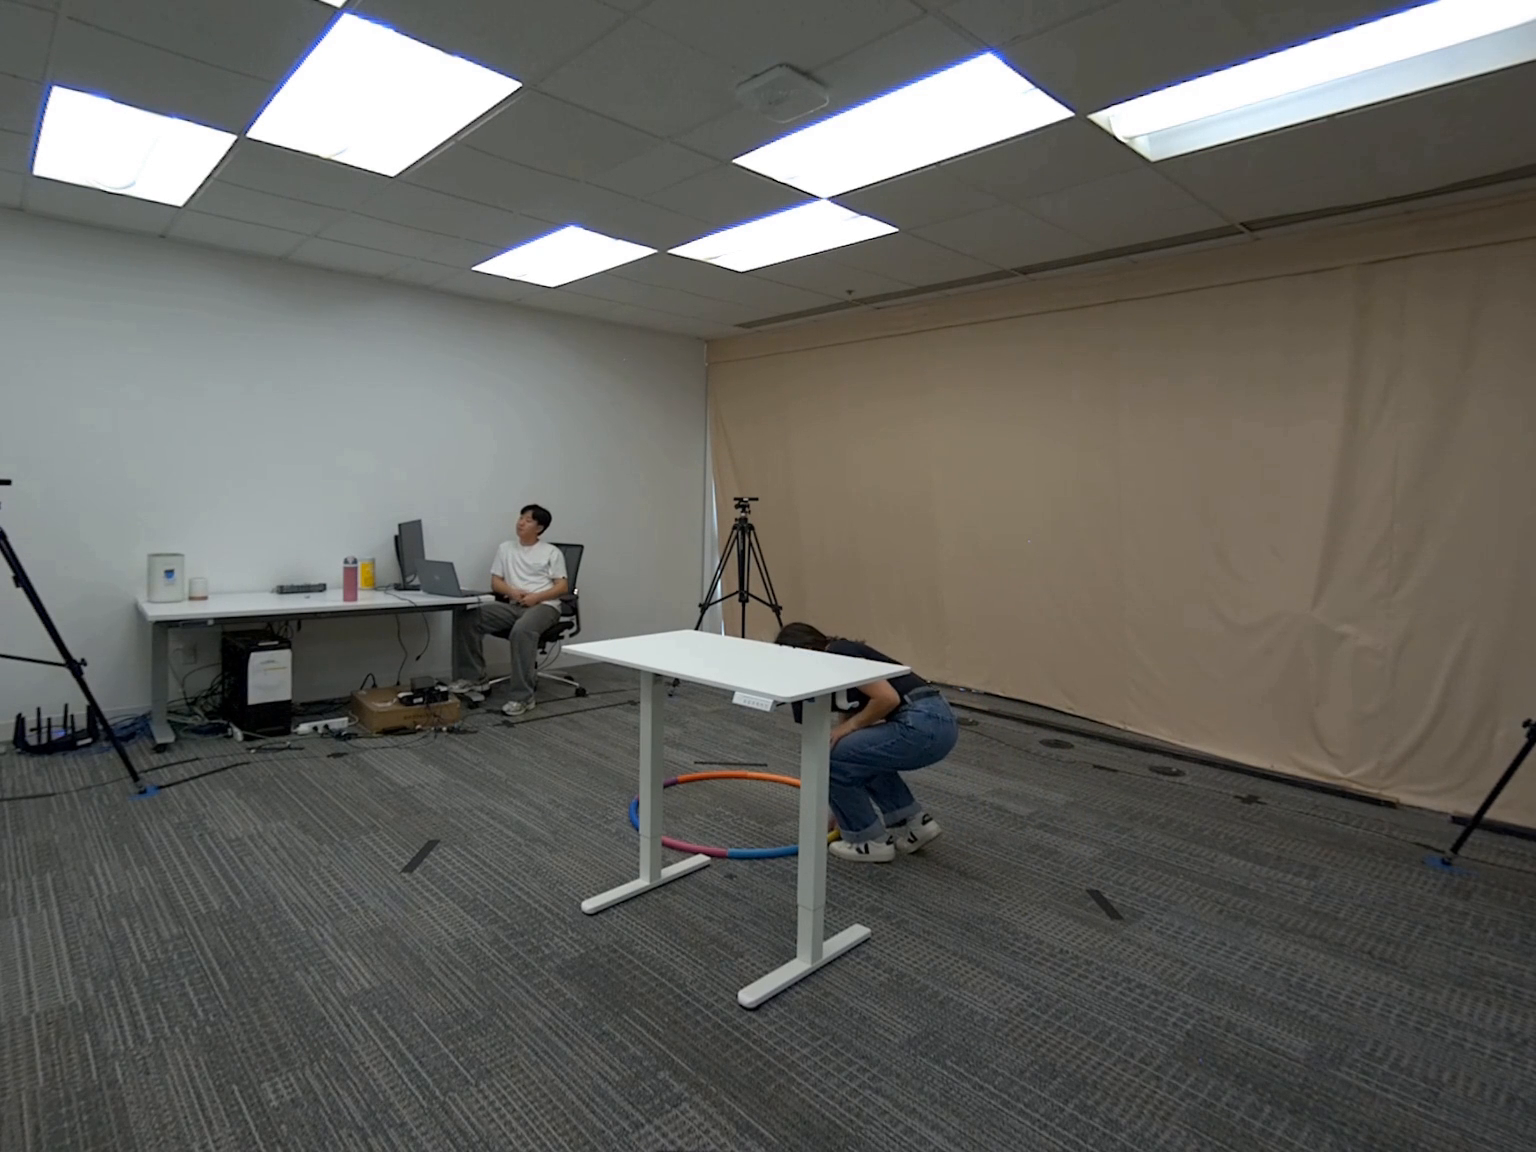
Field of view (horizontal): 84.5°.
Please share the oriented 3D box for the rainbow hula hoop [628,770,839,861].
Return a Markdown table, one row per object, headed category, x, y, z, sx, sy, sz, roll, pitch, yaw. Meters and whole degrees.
| category | x | y | z | sx | sy | sz | roll | pitch | yaw |
| --- | --- | --- | --- | --- | --- | --- | --- | --- | --- |
| rainbow hula hoop | -0.138 | 1.024 | 3.730 | 0.978 | 0.035 | 0.982 | 1 | 5 | -1 |
